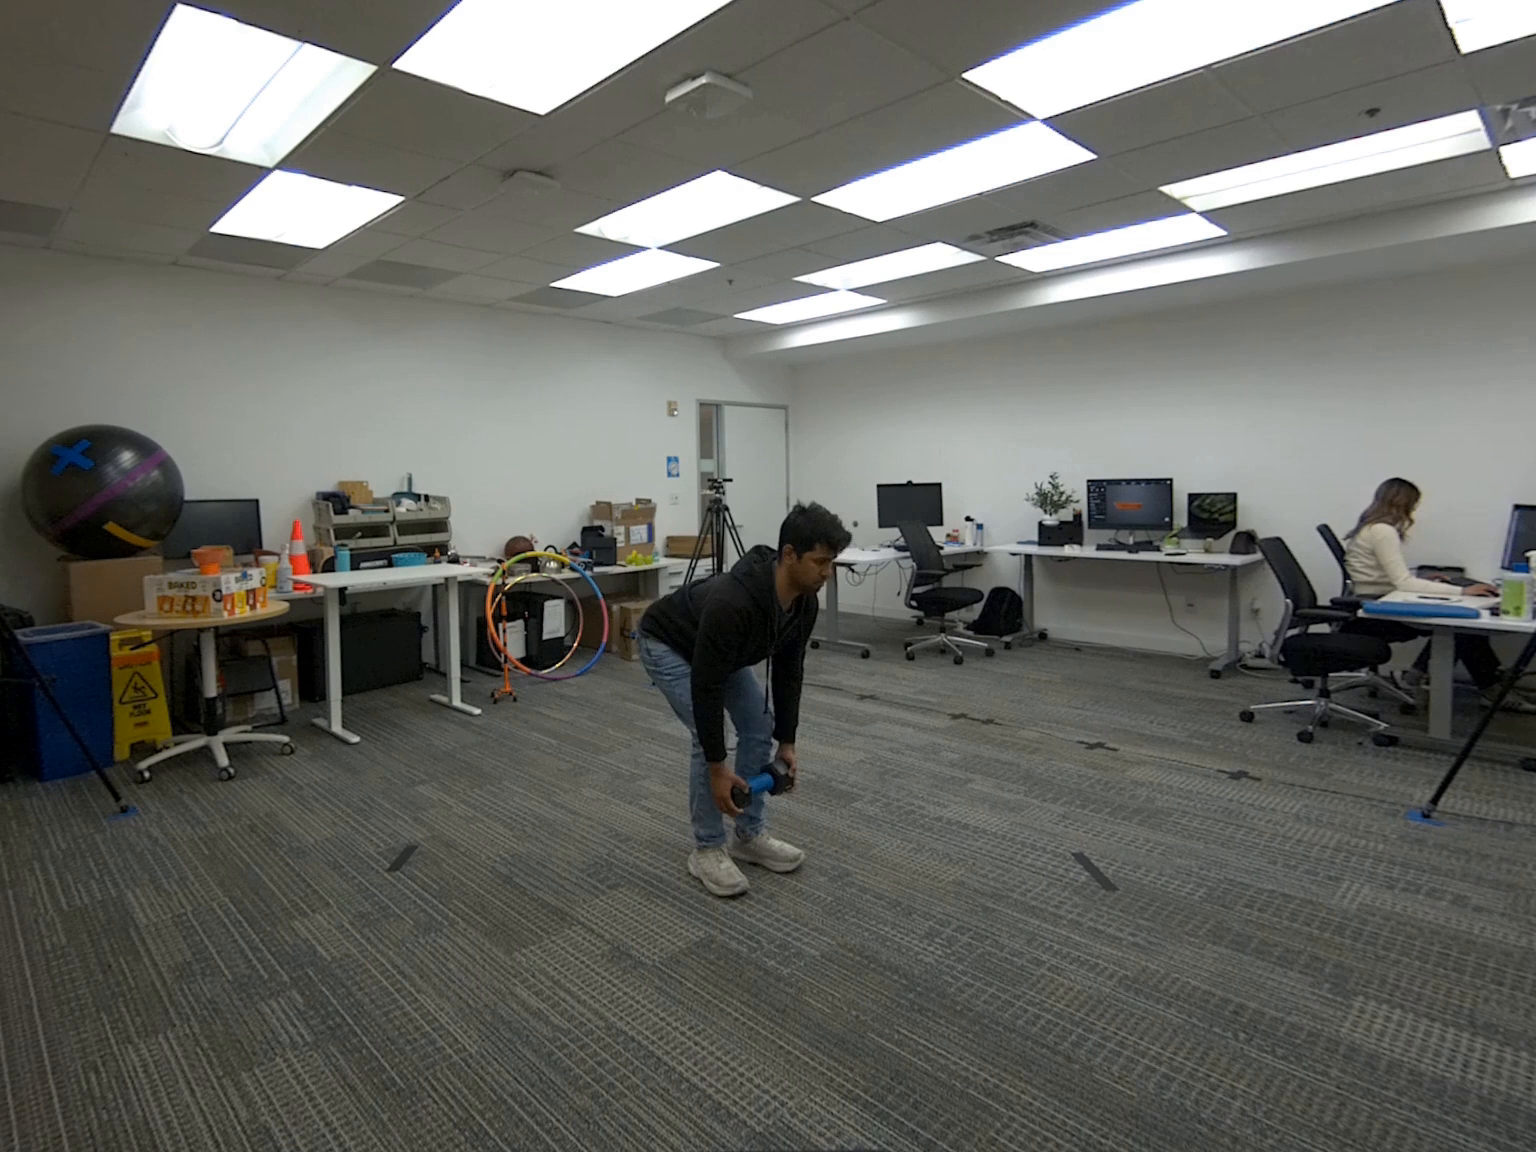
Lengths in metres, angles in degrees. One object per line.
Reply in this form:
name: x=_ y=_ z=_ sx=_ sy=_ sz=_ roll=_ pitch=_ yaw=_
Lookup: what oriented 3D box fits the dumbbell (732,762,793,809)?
dumbbell: x=-0.047 y=0.724 z=2.967 sx=0.286 sy=0.111 sz=0.124 roll=-10 pitch=-19 yaw=-45
